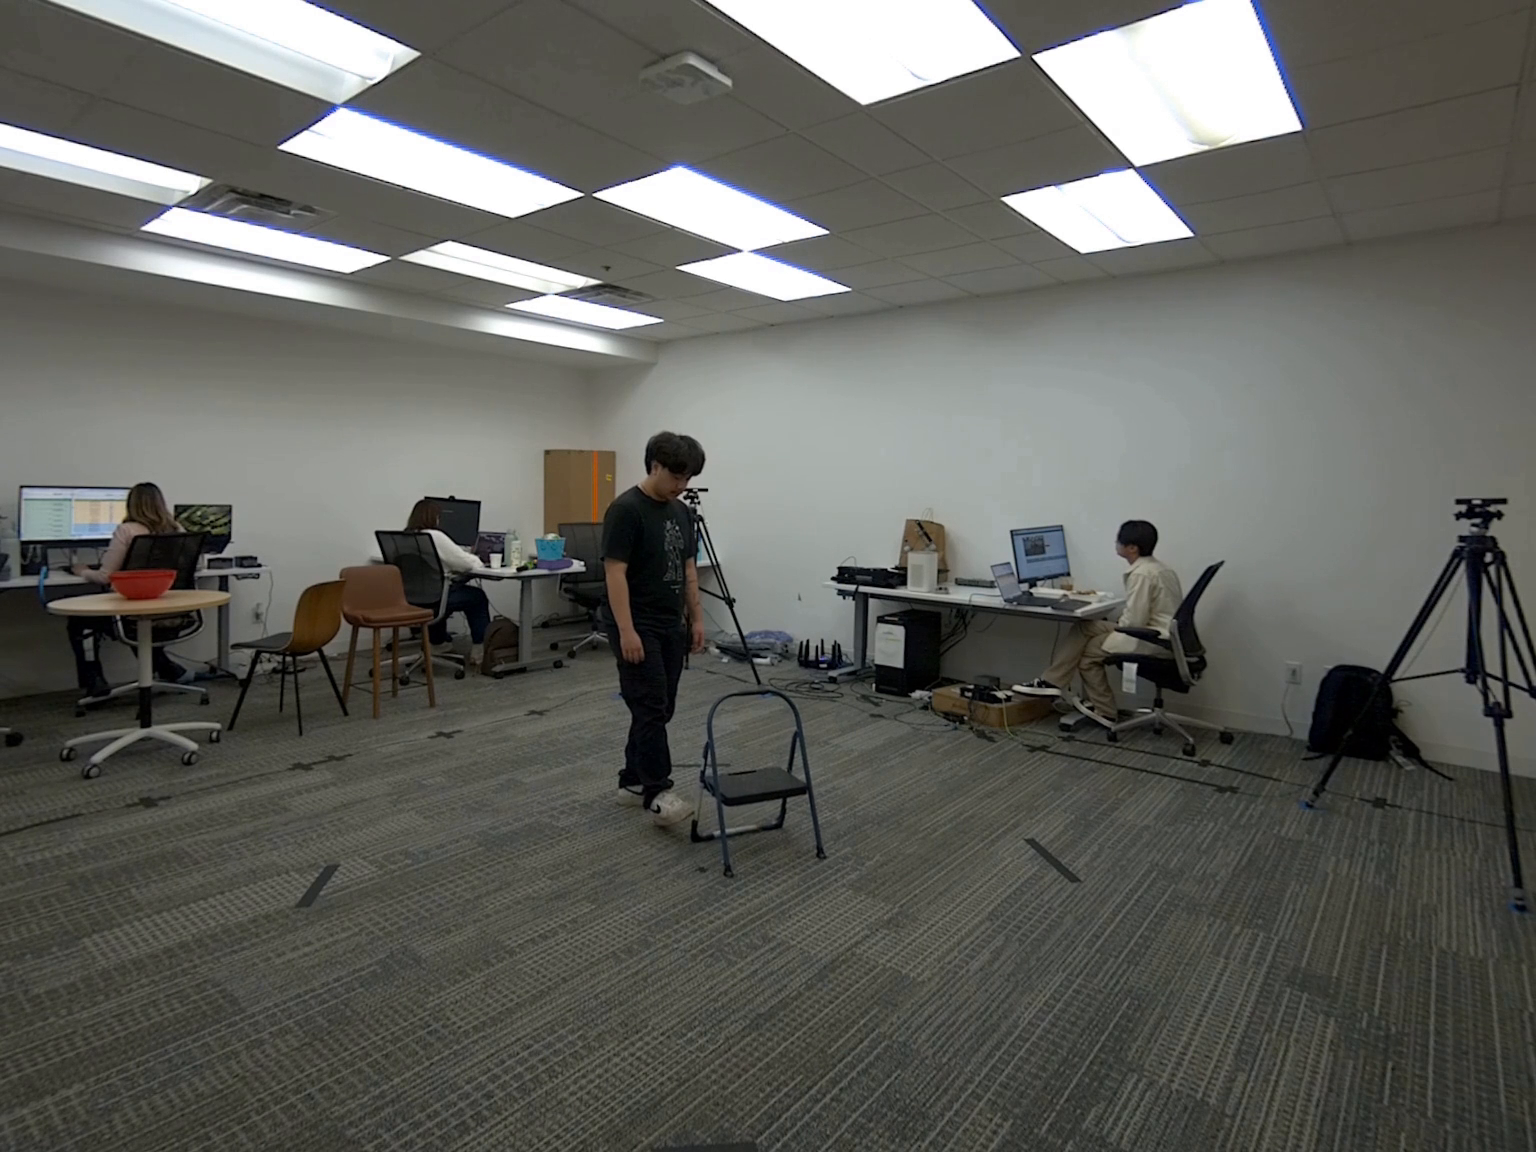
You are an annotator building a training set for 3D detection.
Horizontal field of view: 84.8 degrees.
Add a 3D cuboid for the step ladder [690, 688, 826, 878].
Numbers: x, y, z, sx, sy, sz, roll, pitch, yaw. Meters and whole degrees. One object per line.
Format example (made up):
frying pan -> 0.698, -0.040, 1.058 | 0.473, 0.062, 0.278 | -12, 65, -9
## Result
step ladder -> -0.041, 0.752, 3.277 | 0.419, 0.604, 0.359 | 0, 4, -28
